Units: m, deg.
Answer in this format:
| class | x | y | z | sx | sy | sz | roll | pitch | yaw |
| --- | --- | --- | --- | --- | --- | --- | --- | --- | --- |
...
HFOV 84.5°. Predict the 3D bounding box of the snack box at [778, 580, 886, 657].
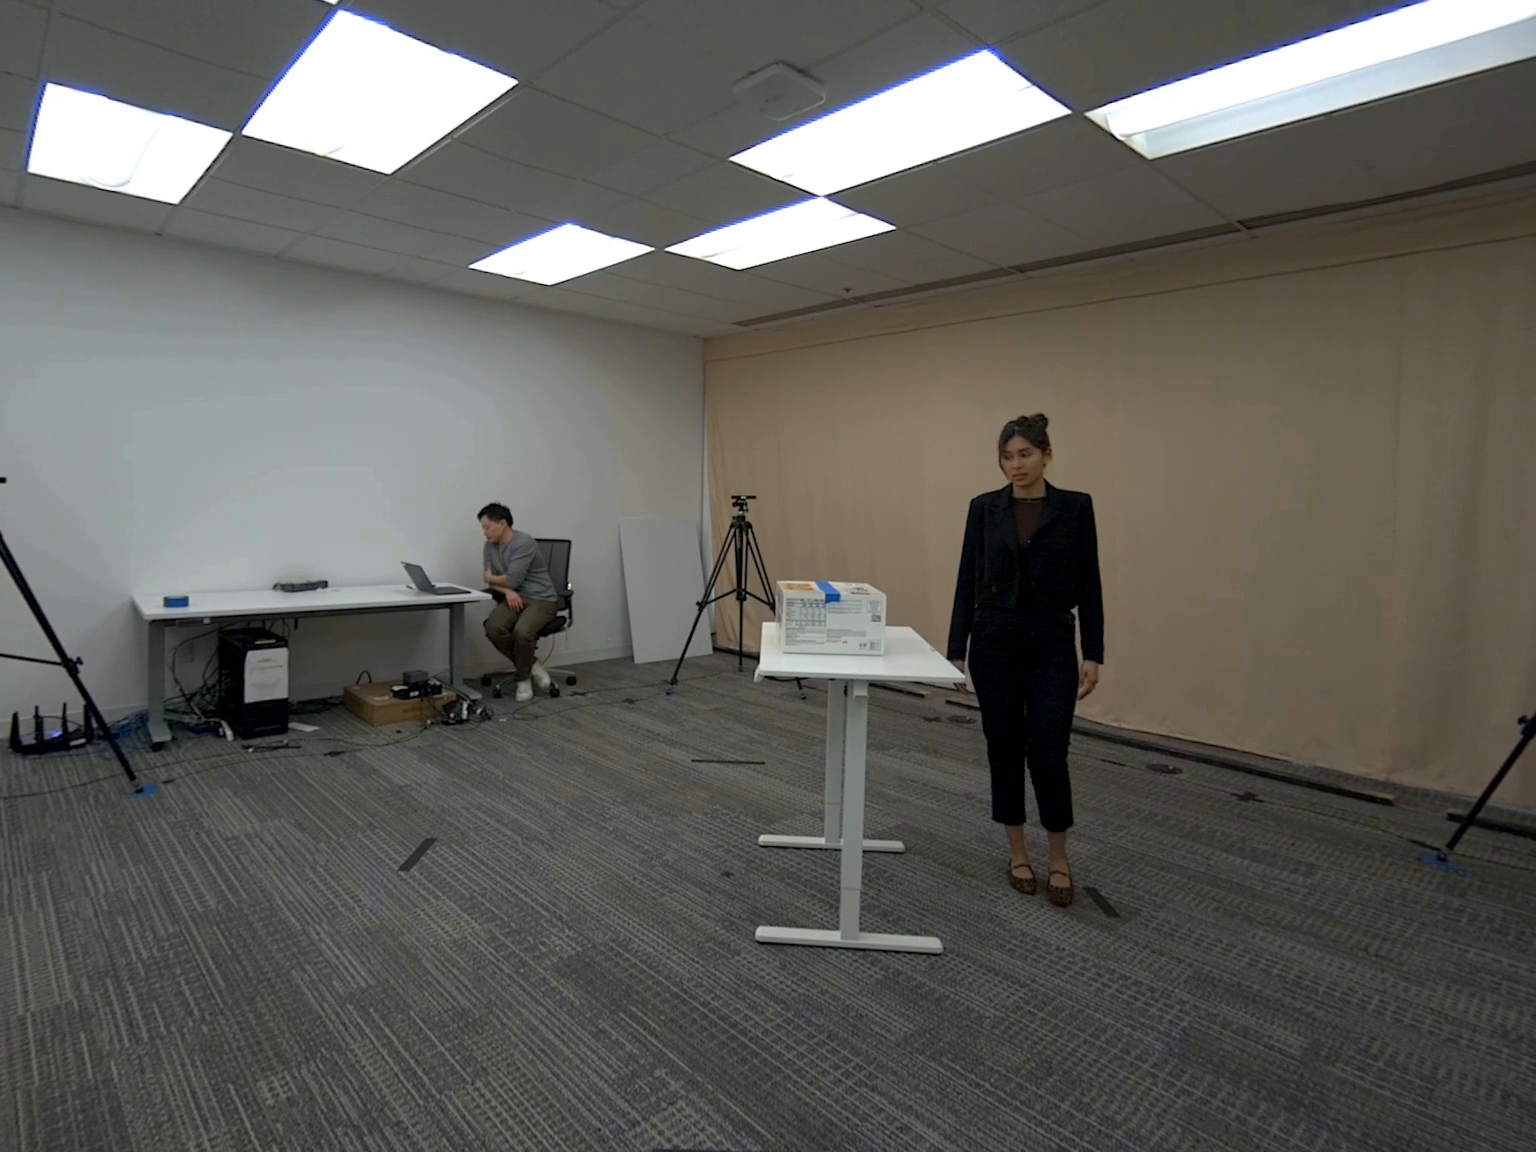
| class | x | y | z | sx | sy | sz | roll | pitch | yaw |
| --- | --- | --- | --- | --- | --- | --- | --- | --- | --- |
| snack box | 0.199 | 0.141 | 2.951 | 0.340 | 0.205 | 0.406 | 2 | 4 | -1 |
